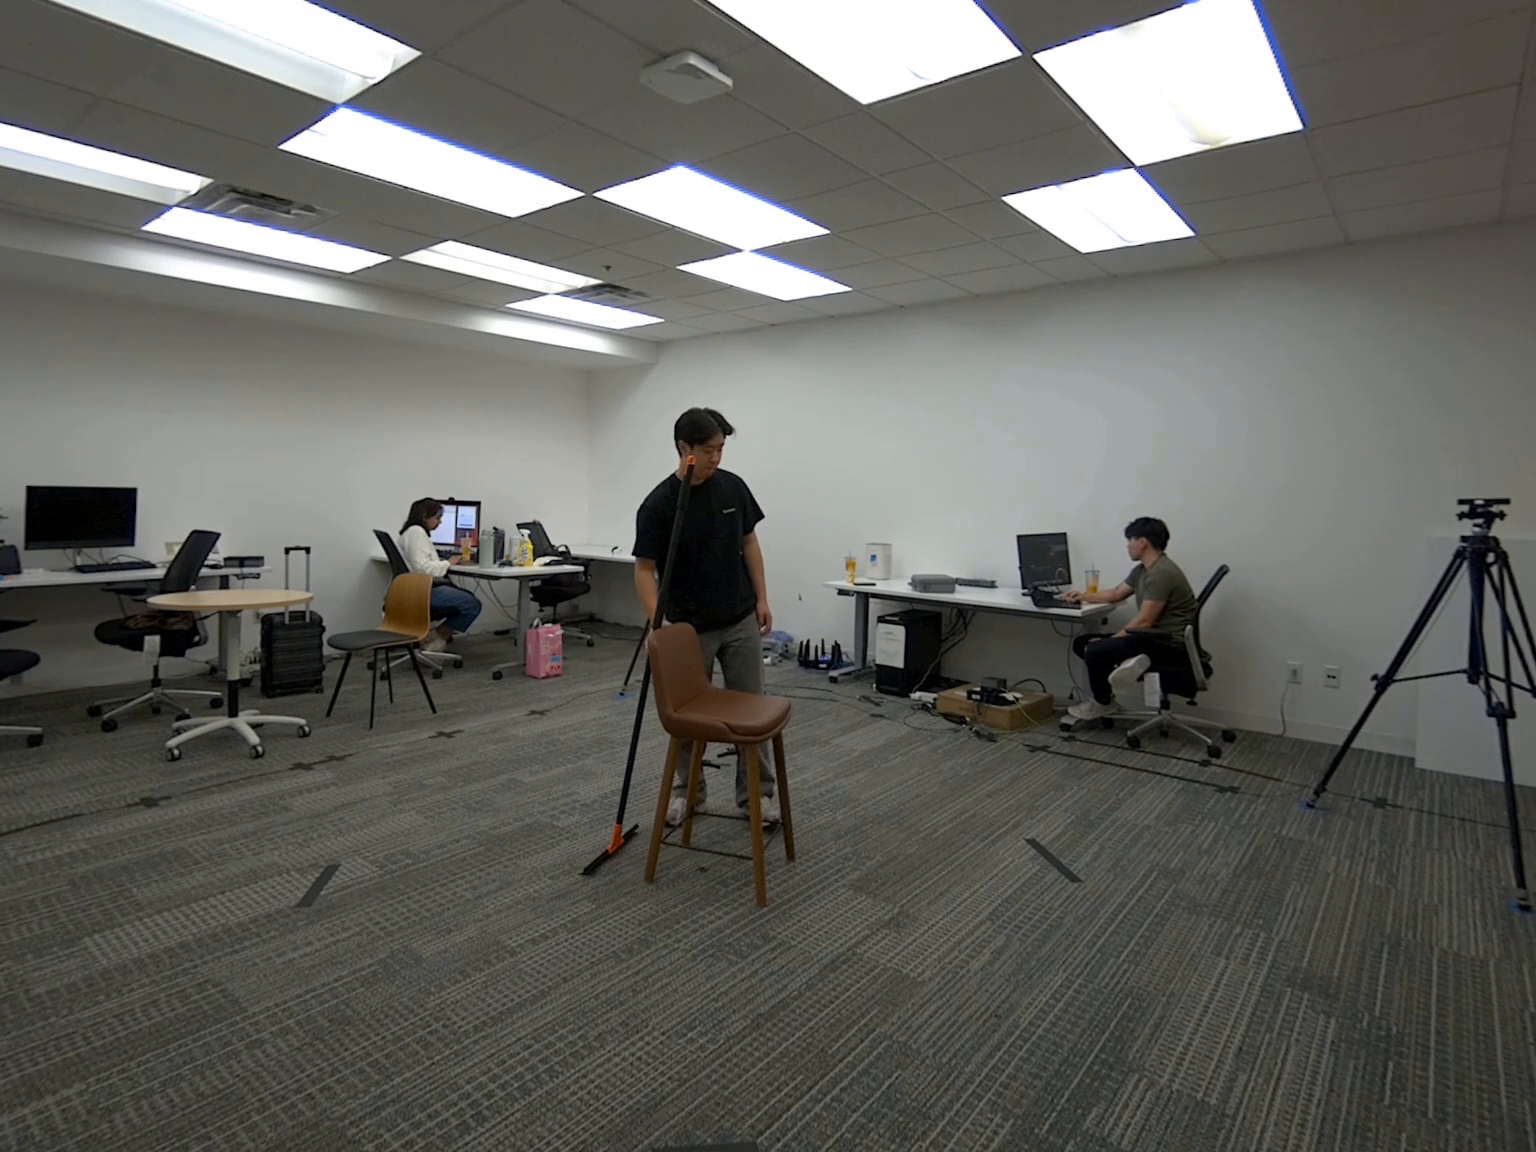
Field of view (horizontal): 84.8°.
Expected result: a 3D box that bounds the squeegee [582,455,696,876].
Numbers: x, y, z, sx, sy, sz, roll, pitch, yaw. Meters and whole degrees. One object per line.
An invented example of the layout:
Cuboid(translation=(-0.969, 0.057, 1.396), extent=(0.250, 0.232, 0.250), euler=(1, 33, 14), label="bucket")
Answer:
Cuboid(translation=(-0.464, 0.319, 3.144), extent=(0.054, 1.528, 0.433), euler=(12, 9, 12), label="squeegee")
